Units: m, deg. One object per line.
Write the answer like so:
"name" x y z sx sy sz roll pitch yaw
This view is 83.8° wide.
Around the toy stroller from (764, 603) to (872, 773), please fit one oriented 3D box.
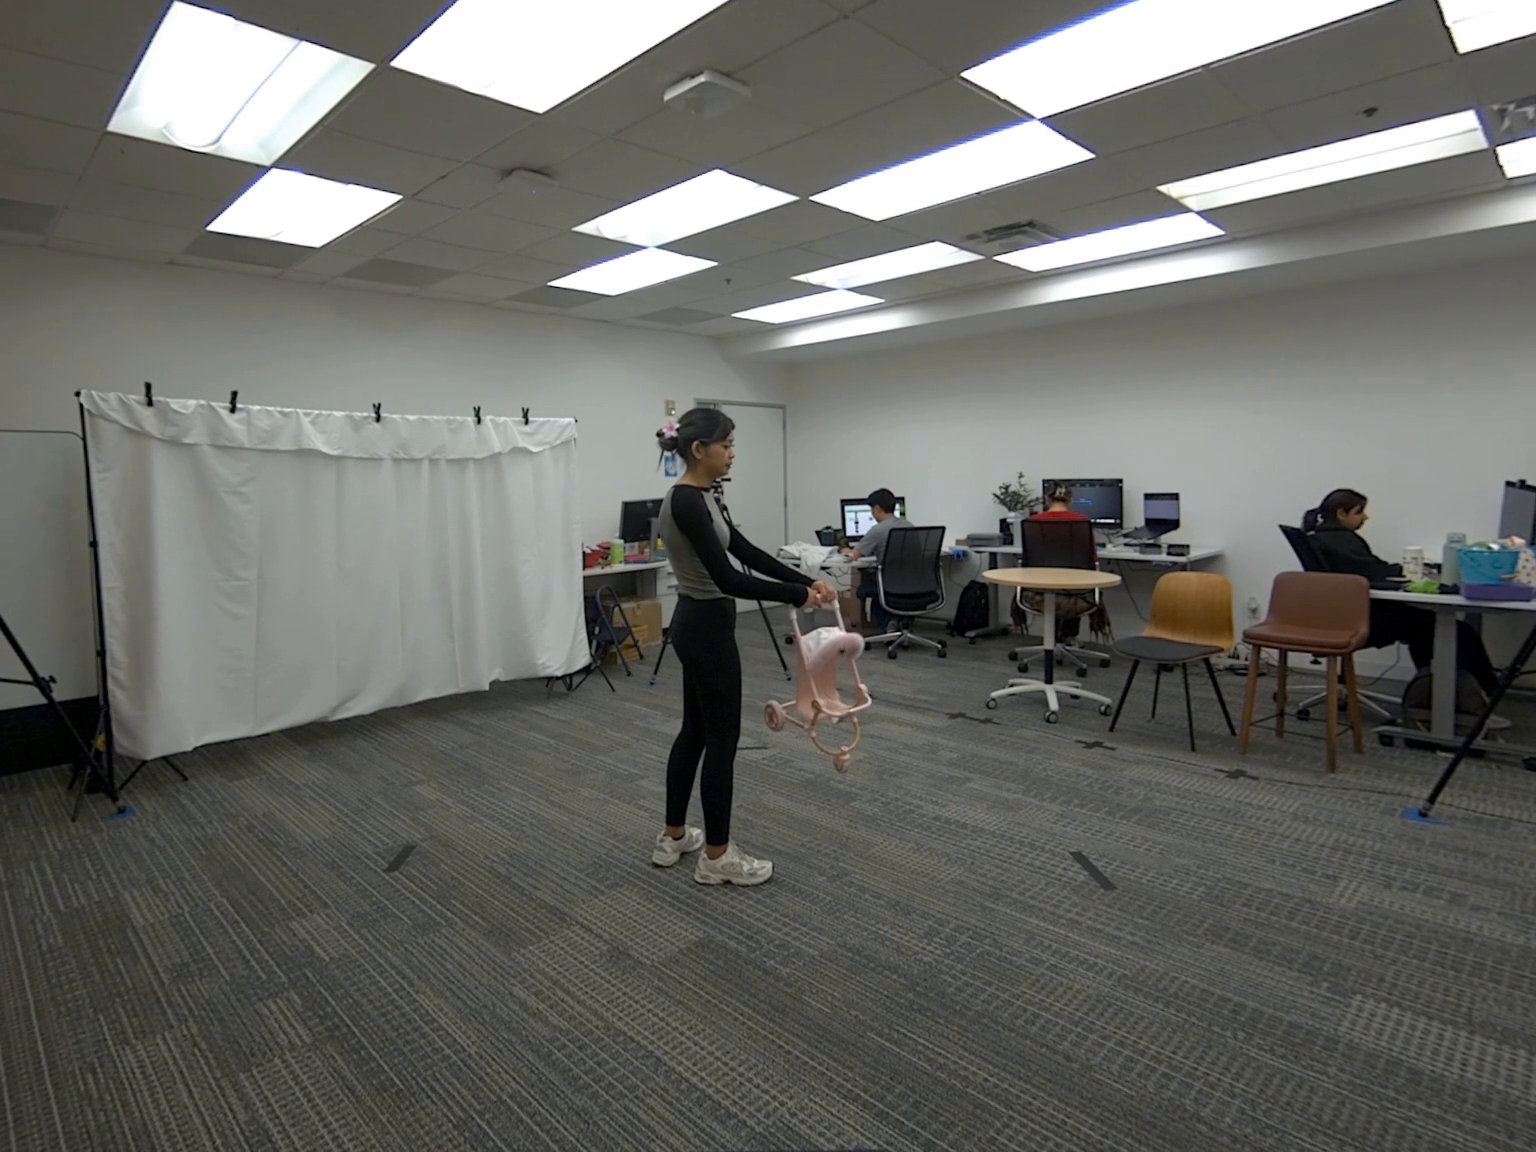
"toy stroller" 0.199 0.380 2.936 0.275 0.526 0.355 -8 27 -31
